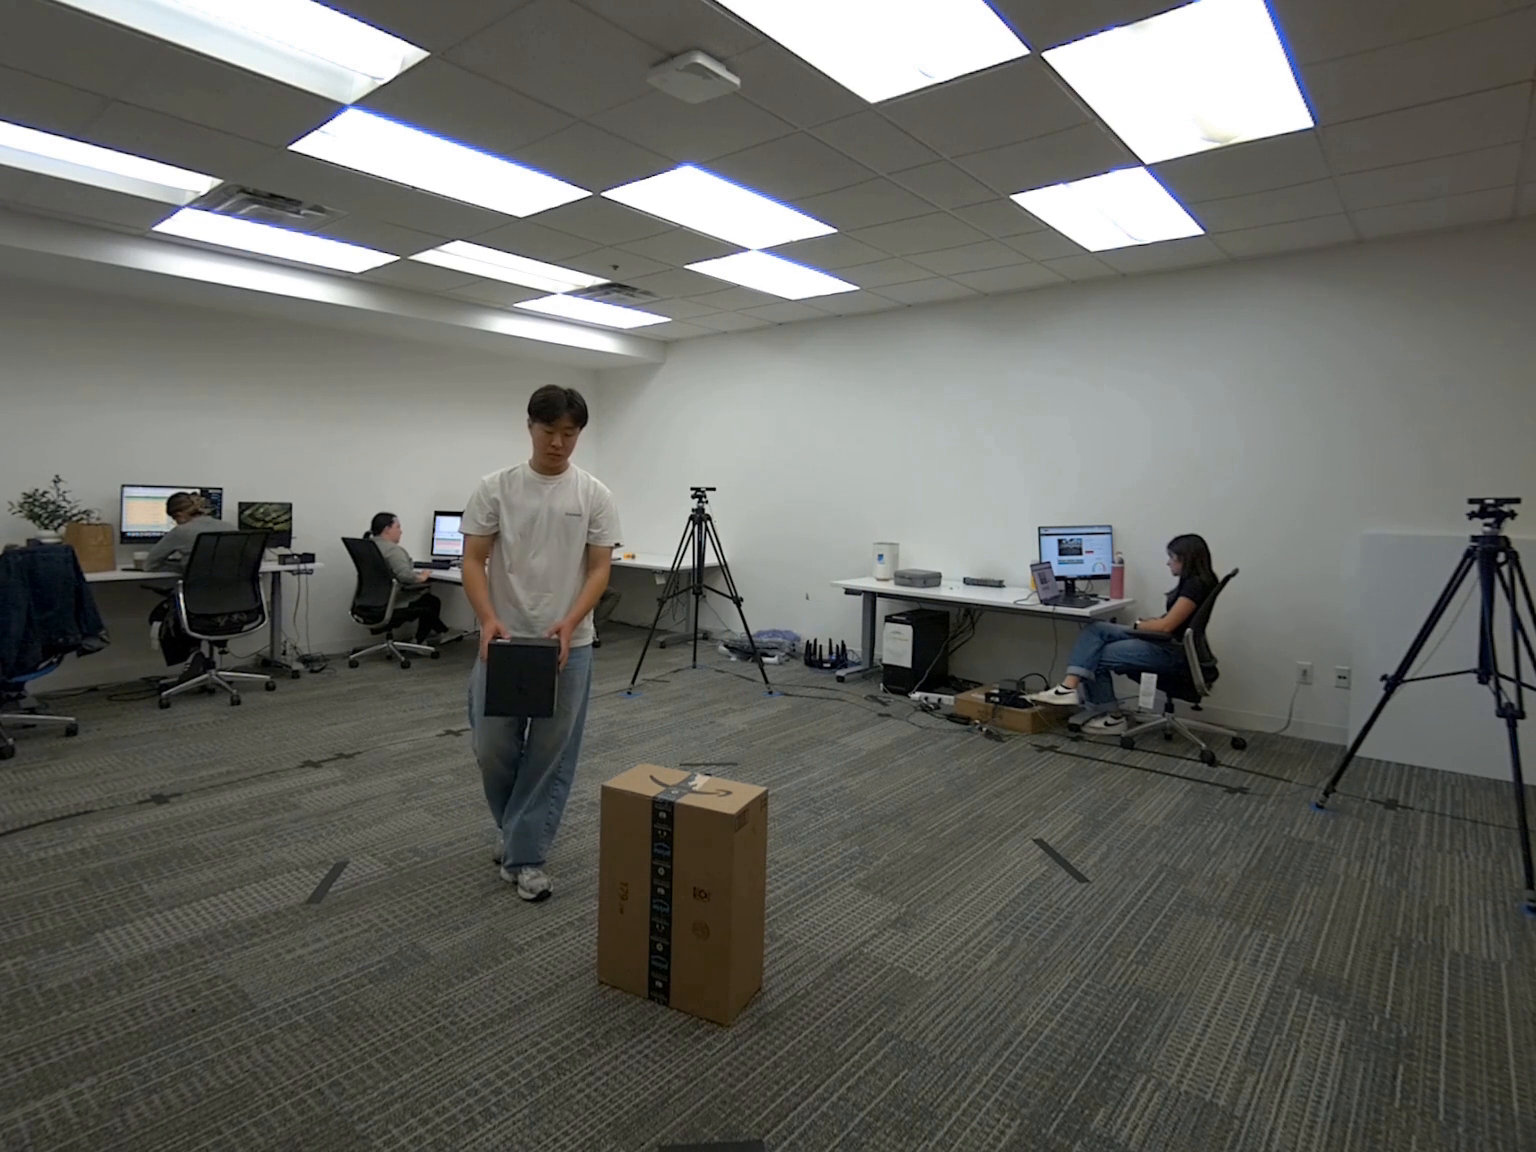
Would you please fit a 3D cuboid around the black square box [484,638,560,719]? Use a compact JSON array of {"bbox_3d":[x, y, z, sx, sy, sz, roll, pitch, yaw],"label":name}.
[{"bbox_3d":[-0.789,0.312,2.713,0.215,0.227,0.158,1,3,-9],"label":"black square box"}]
